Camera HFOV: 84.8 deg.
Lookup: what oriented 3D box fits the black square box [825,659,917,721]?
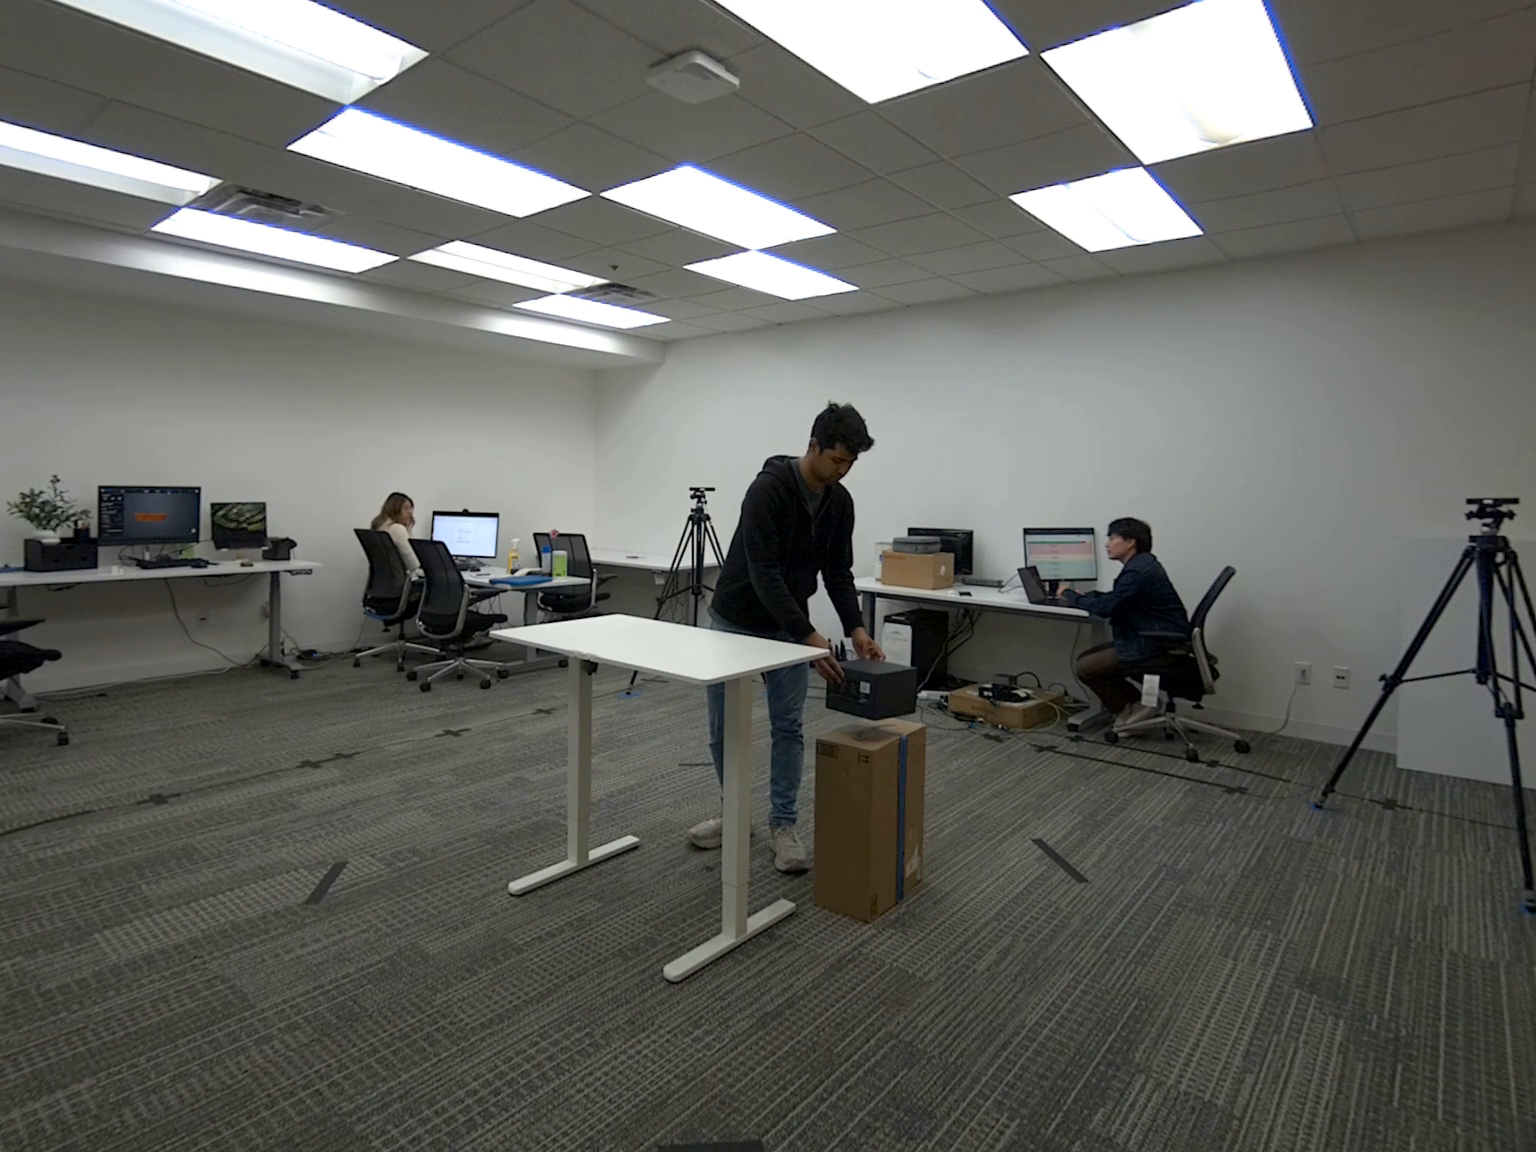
[{"bbox_3d":[0.346,0.377,2.908,0.221,0.155,0.224,-2,4,-43],"label":"black square box"}]
